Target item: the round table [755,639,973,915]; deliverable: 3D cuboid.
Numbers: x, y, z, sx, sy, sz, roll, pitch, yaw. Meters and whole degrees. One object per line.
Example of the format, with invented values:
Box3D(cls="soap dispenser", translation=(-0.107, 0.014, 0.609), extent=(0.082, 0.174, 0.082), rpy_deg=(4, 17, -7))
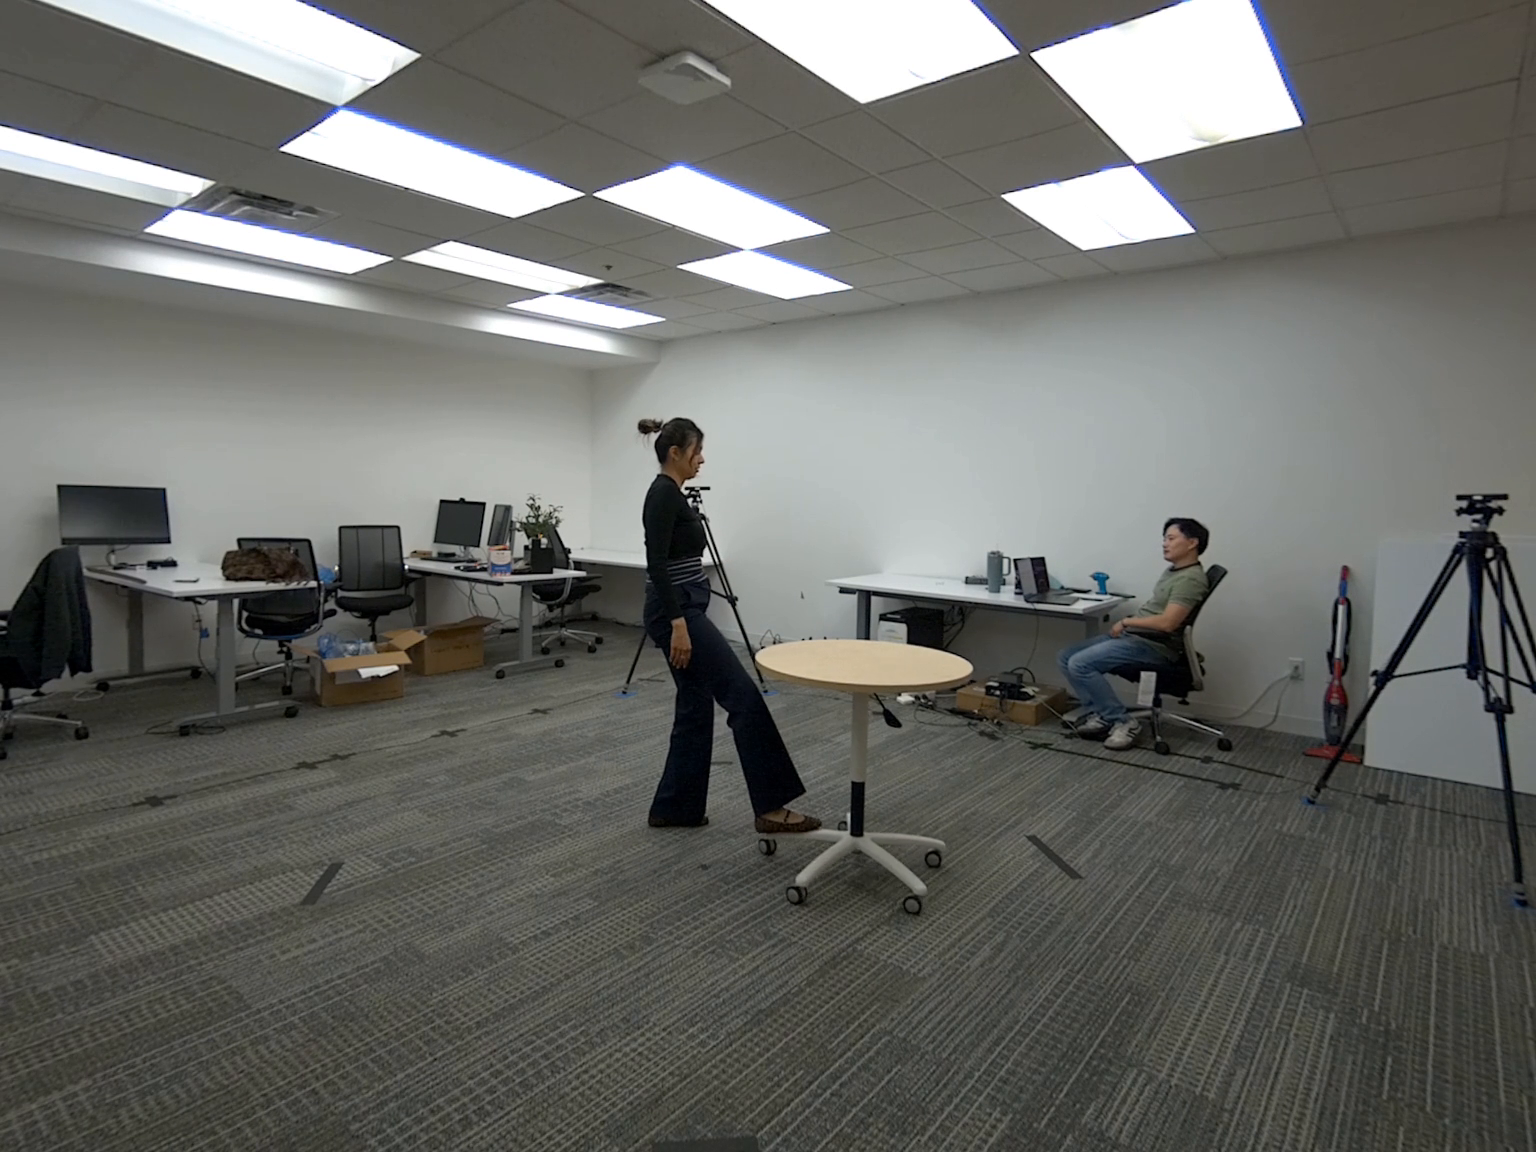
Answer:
Box3D(cls="round table", translation=(0.318, 0.689, 3.079), extent=(0.763, 0.791, 0.768), rpy_deg=(1, 5, -2))
